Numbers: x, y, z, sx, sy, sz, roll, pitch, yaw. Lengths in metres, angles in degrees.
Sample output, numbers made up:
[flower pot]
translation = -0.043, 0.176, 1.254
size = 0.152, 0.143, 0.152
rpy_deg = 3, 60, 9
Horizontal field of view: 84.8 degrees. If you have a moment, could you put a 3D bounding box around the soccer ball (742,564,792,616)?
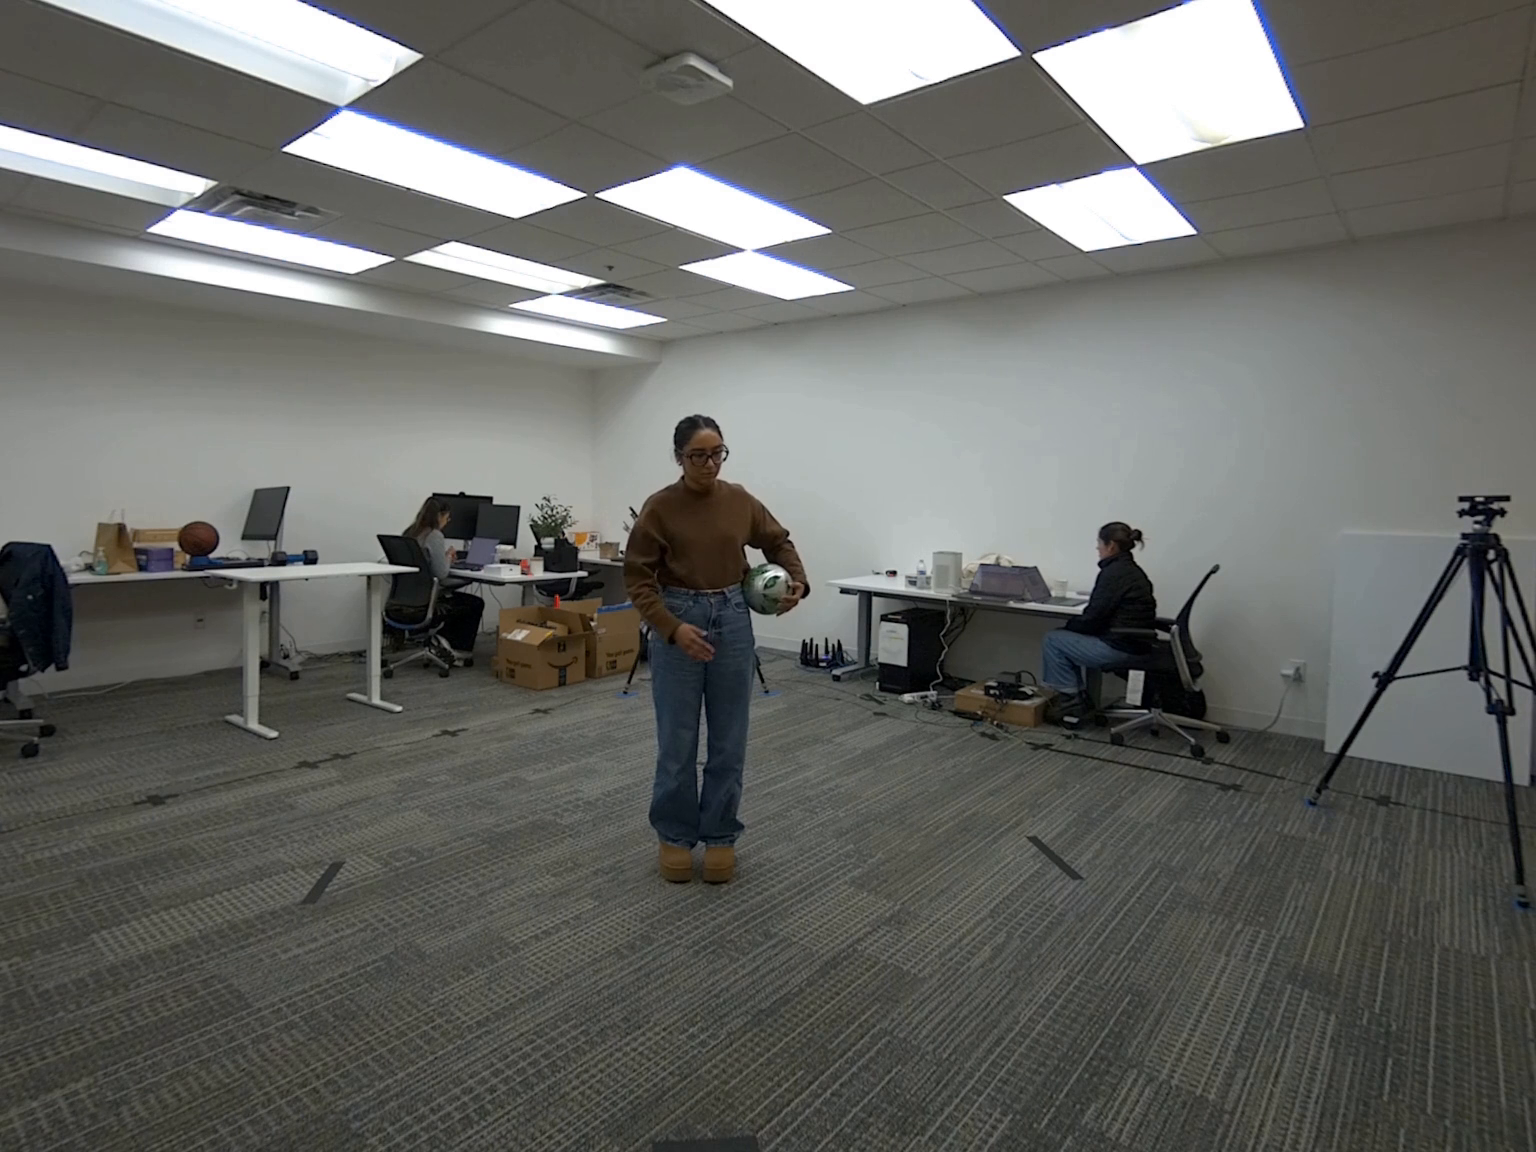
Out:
[soccer ball]
translation = -0.004, 0.041, 3.063
size = 0.187, 0.187, 0.188
rpy_deg = 1, 4, -2
